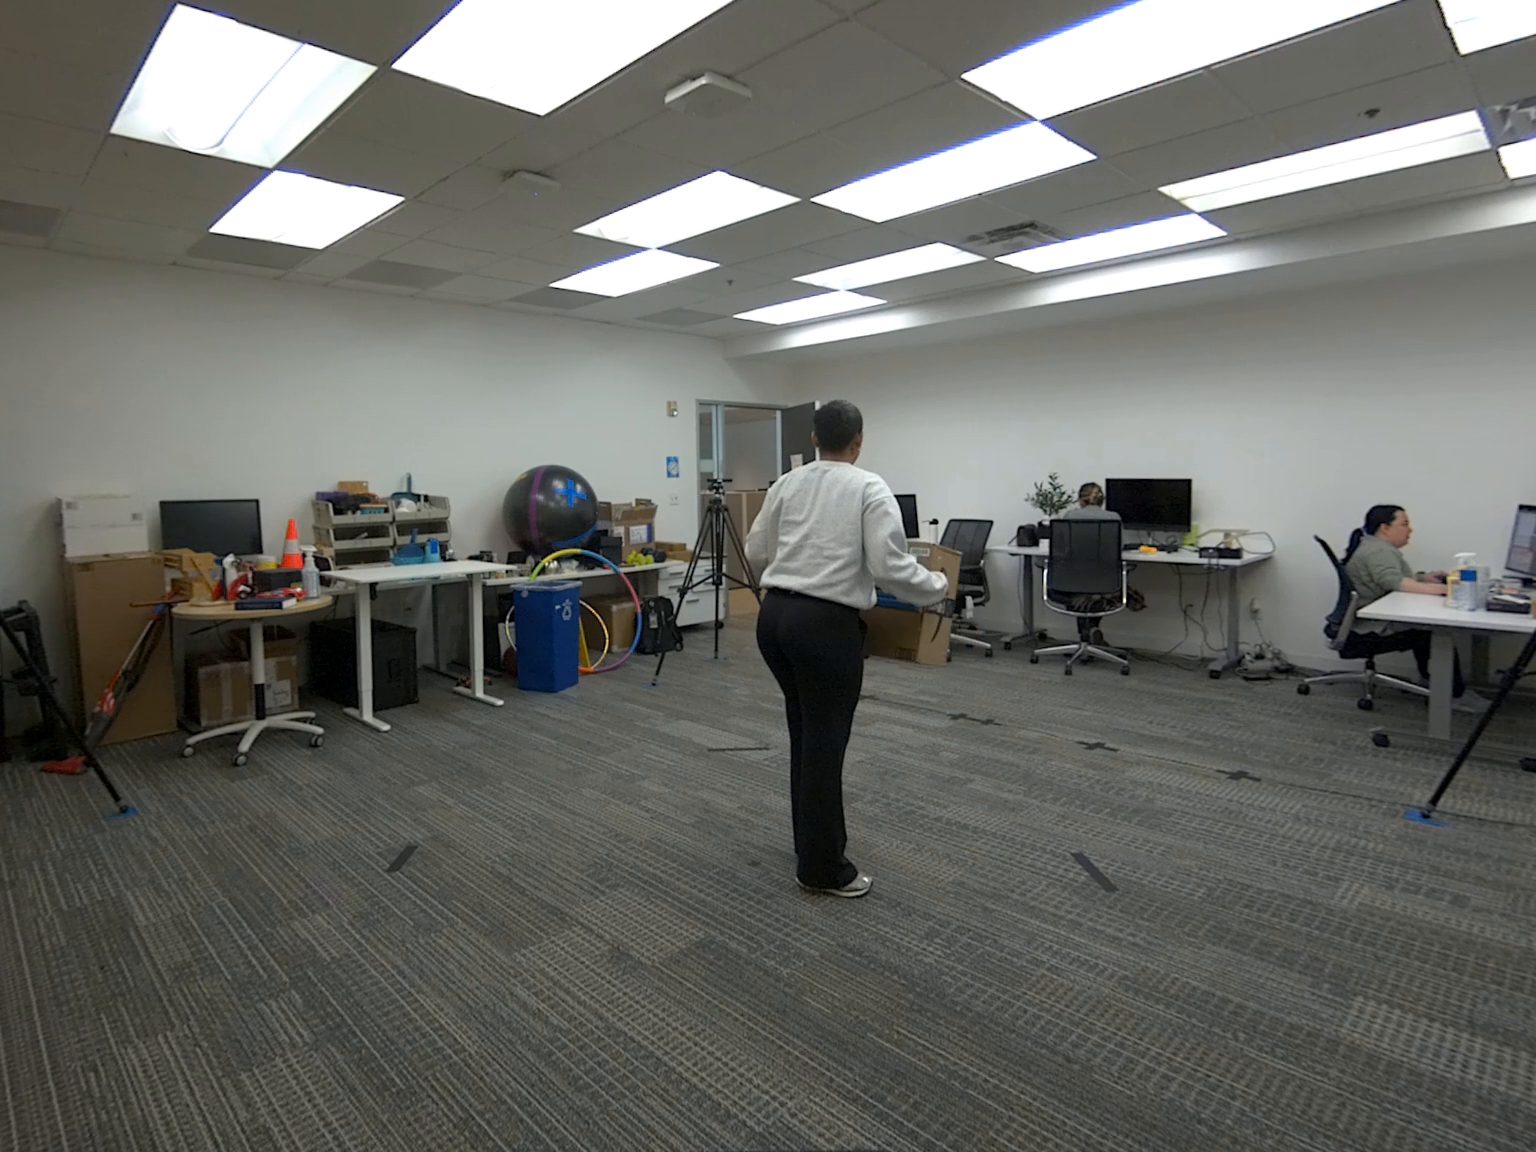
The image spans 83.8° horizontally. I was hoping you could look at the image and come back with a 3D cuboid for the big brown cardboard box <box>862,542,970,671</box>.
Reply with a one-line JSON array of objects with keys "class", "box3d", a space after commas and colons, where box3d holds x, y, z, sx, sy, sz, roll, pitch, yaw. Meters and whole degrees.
[{"class": "big brown cardboard box", "box3d": [0.394, 0.086, 3.178, 0.607, 0.419, 0.225, 6, -5, 43]}]
